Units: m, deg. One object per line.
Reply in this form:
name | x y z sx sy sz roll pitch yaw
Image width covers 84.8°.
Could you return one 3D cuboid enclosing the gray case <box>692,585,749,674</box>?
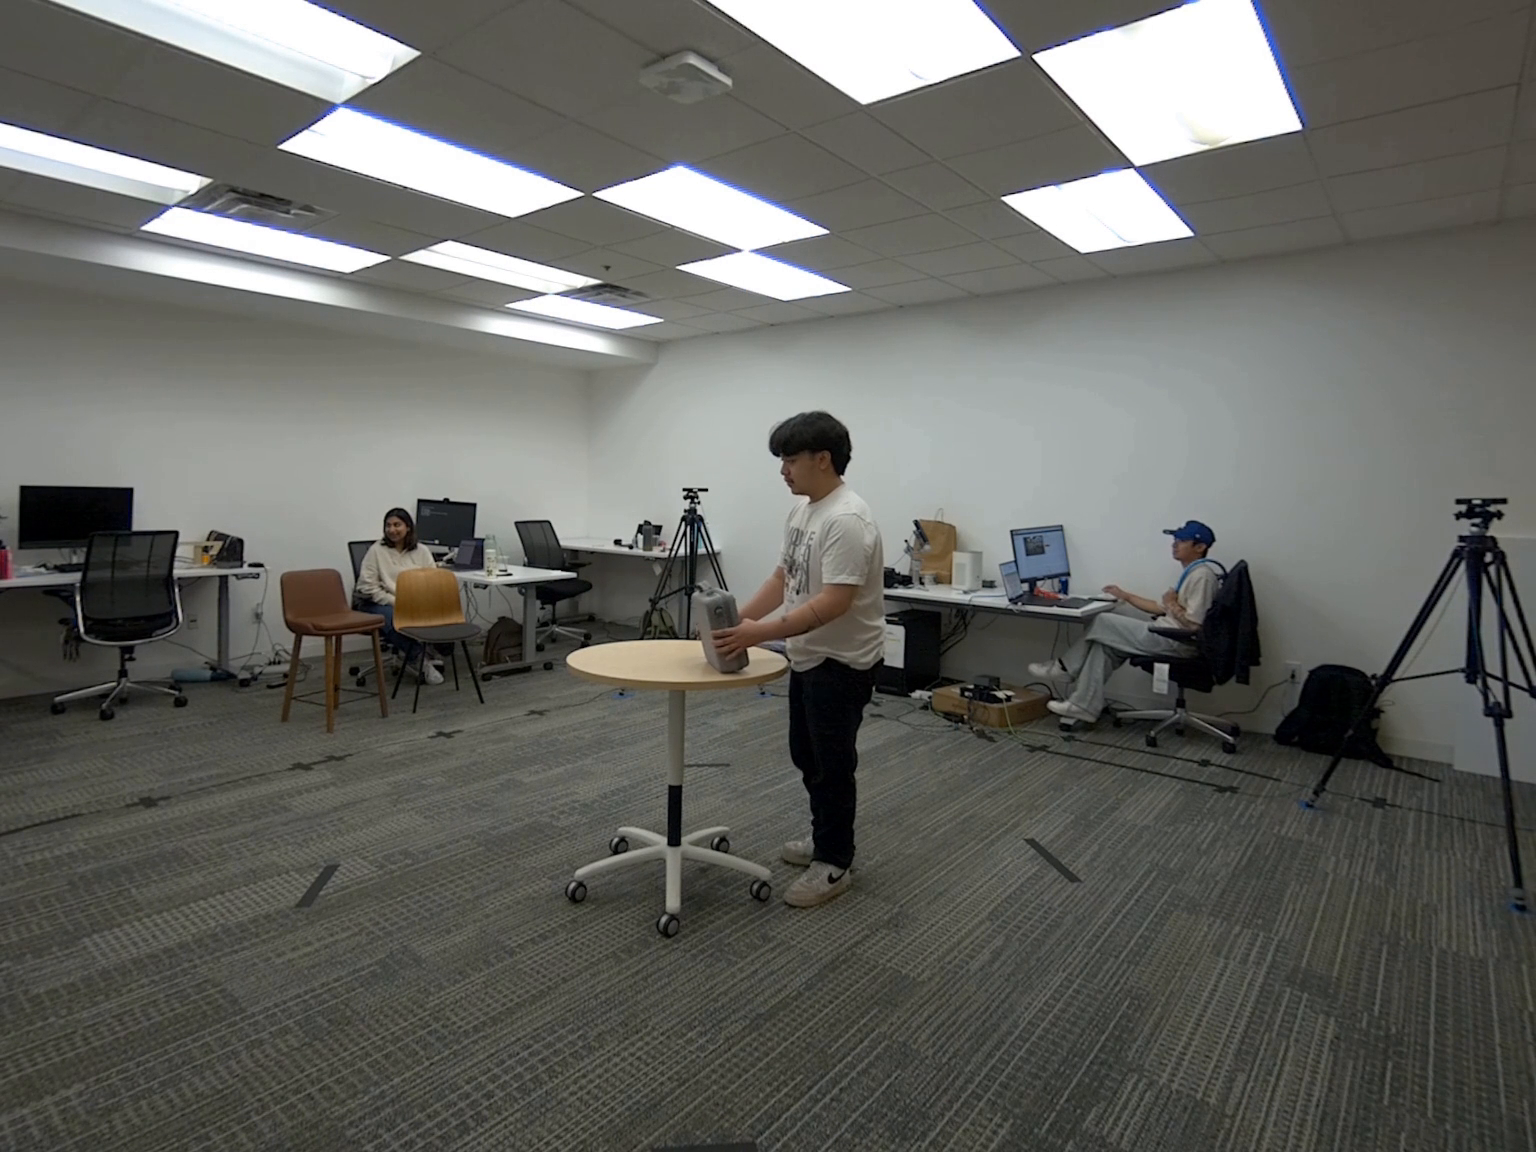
gray case | -0.177 0.163 2.820 0.103 0.259 0.261 -13 6 -15
